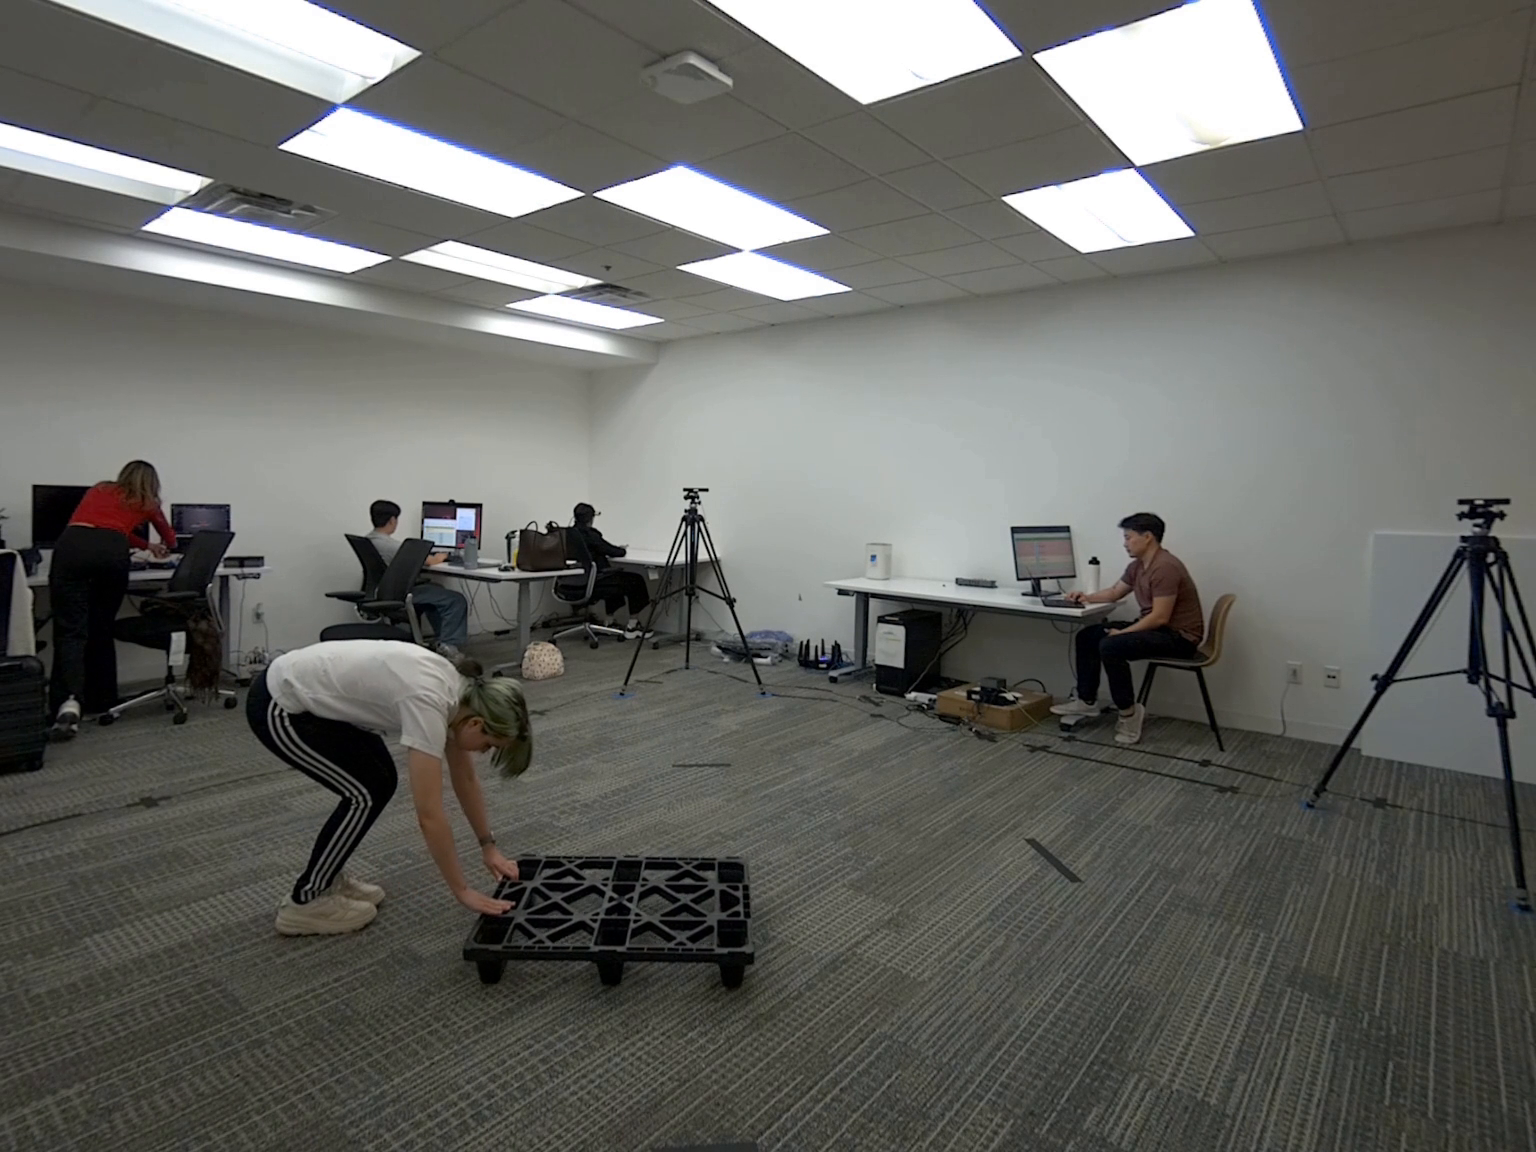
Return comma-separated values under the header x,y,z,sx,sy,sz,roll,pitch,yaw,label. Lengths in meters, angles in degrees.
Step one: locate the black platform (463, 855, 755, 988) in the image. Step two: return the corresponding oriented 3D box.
x,y,z,sx,sy,sz,roll,pitch,yaw,label
-0.460,1.049,2.596,0.806,0.142,0.608,0,7,-1,black platform
